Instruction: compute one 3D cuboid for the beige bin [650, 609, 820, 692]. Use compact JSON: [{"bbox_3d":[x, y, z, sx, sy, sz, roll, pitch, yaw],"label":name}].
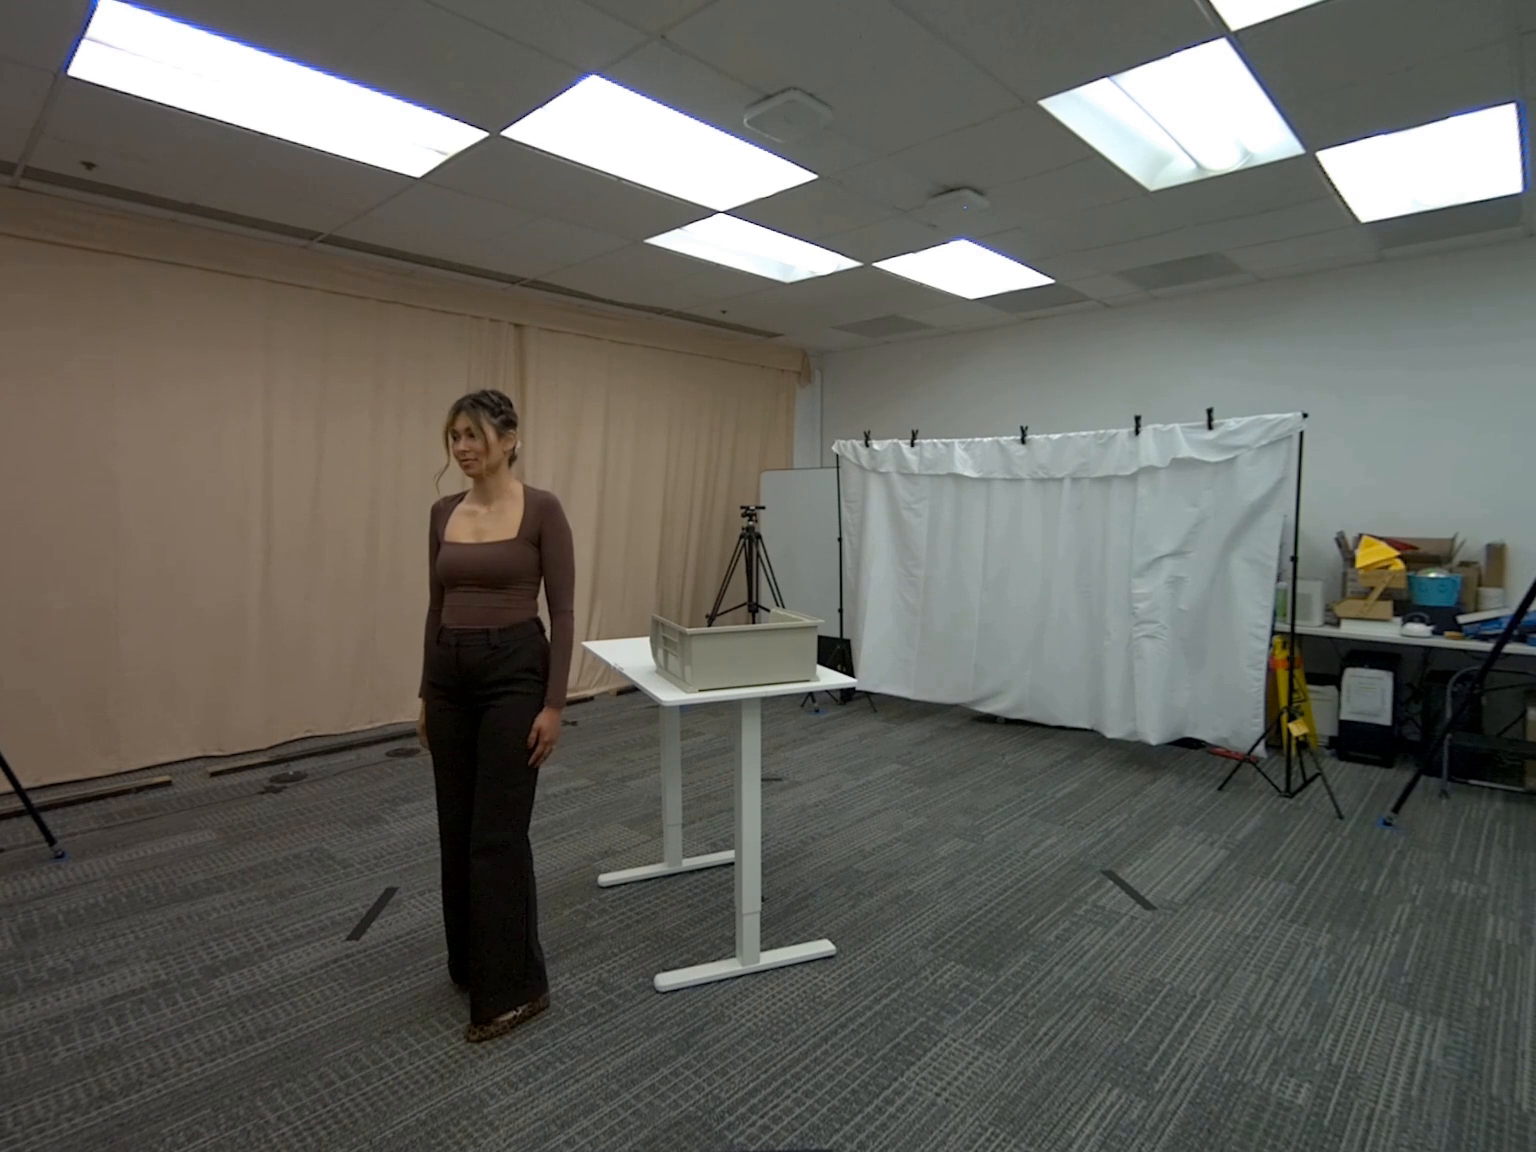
[{"bbox_3d":[-0.106,0.214,2.537,0.413,0.188,0.387,-2,7,-23],"label":"beige bin"}]
